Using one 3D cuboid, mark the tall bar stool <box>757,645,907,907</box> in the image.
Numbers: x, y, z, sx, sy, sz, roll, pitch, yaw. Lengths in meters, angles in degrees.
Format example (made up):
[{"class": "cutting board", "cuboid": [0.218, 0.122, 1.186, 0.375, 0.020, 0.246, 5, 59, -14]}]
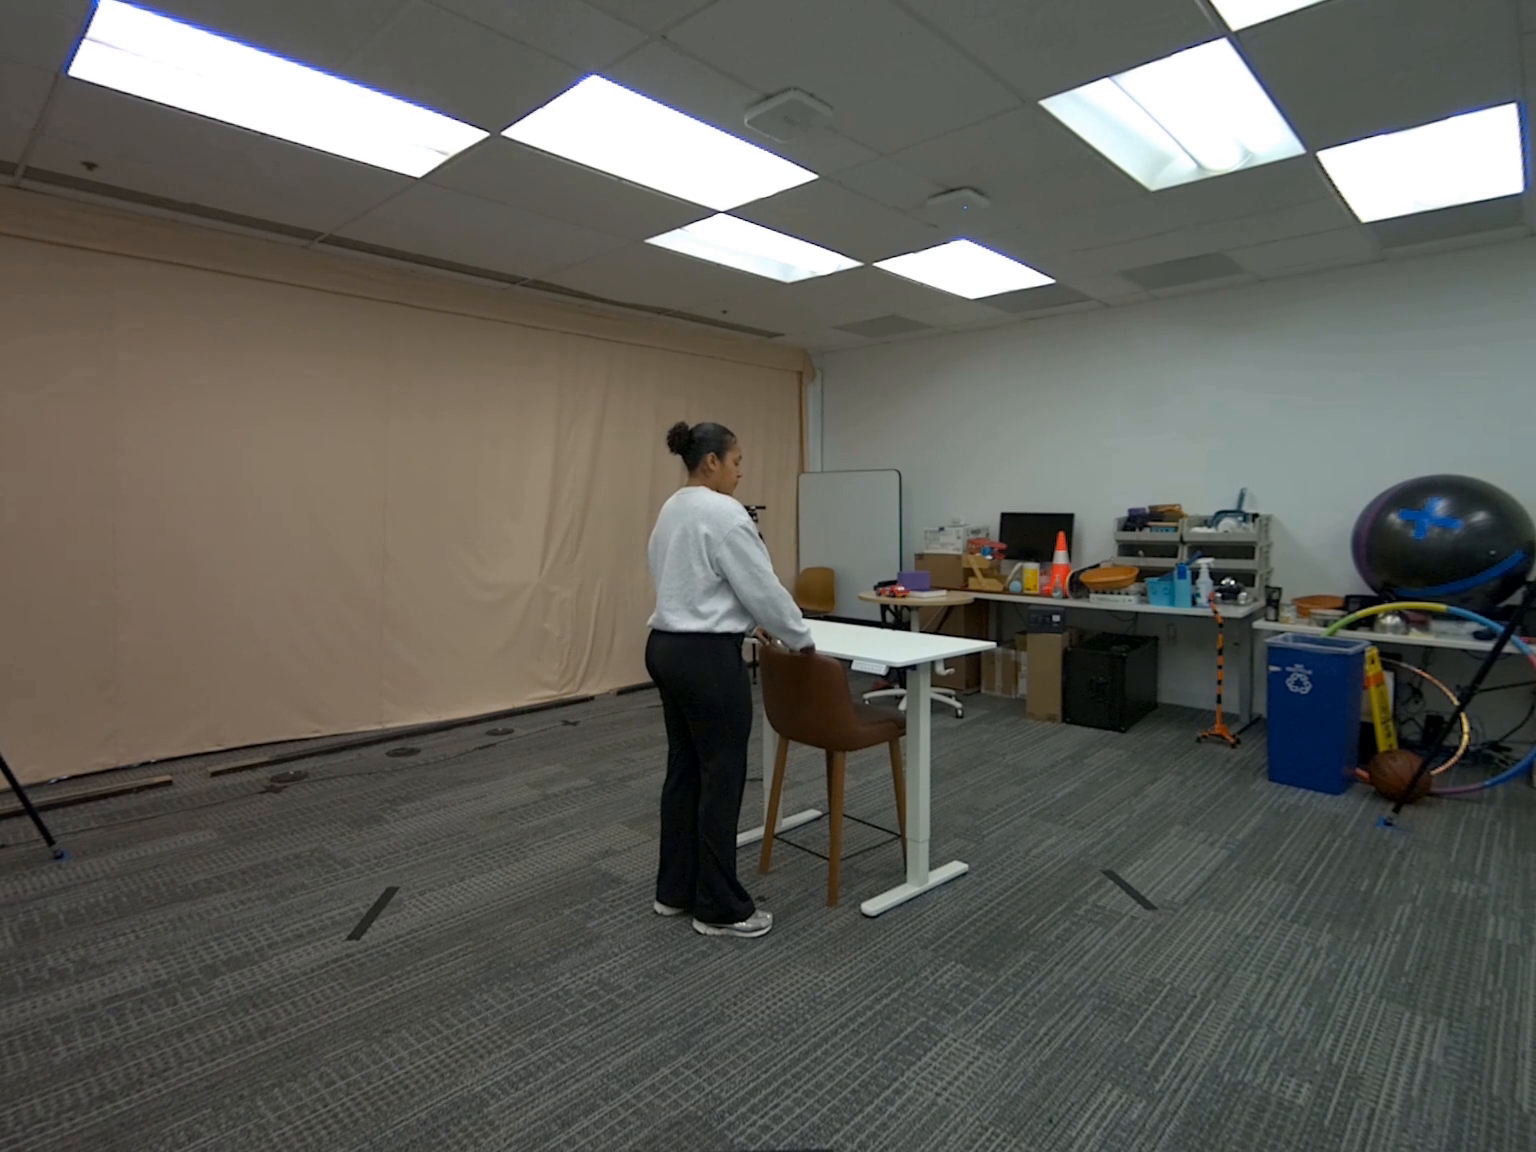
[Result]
[{"class": "tall bar stool", "cuboid": [0.248, 0.692, 3.173, 0.454, 0.887, 0.472, -5, 6, -41]}]
